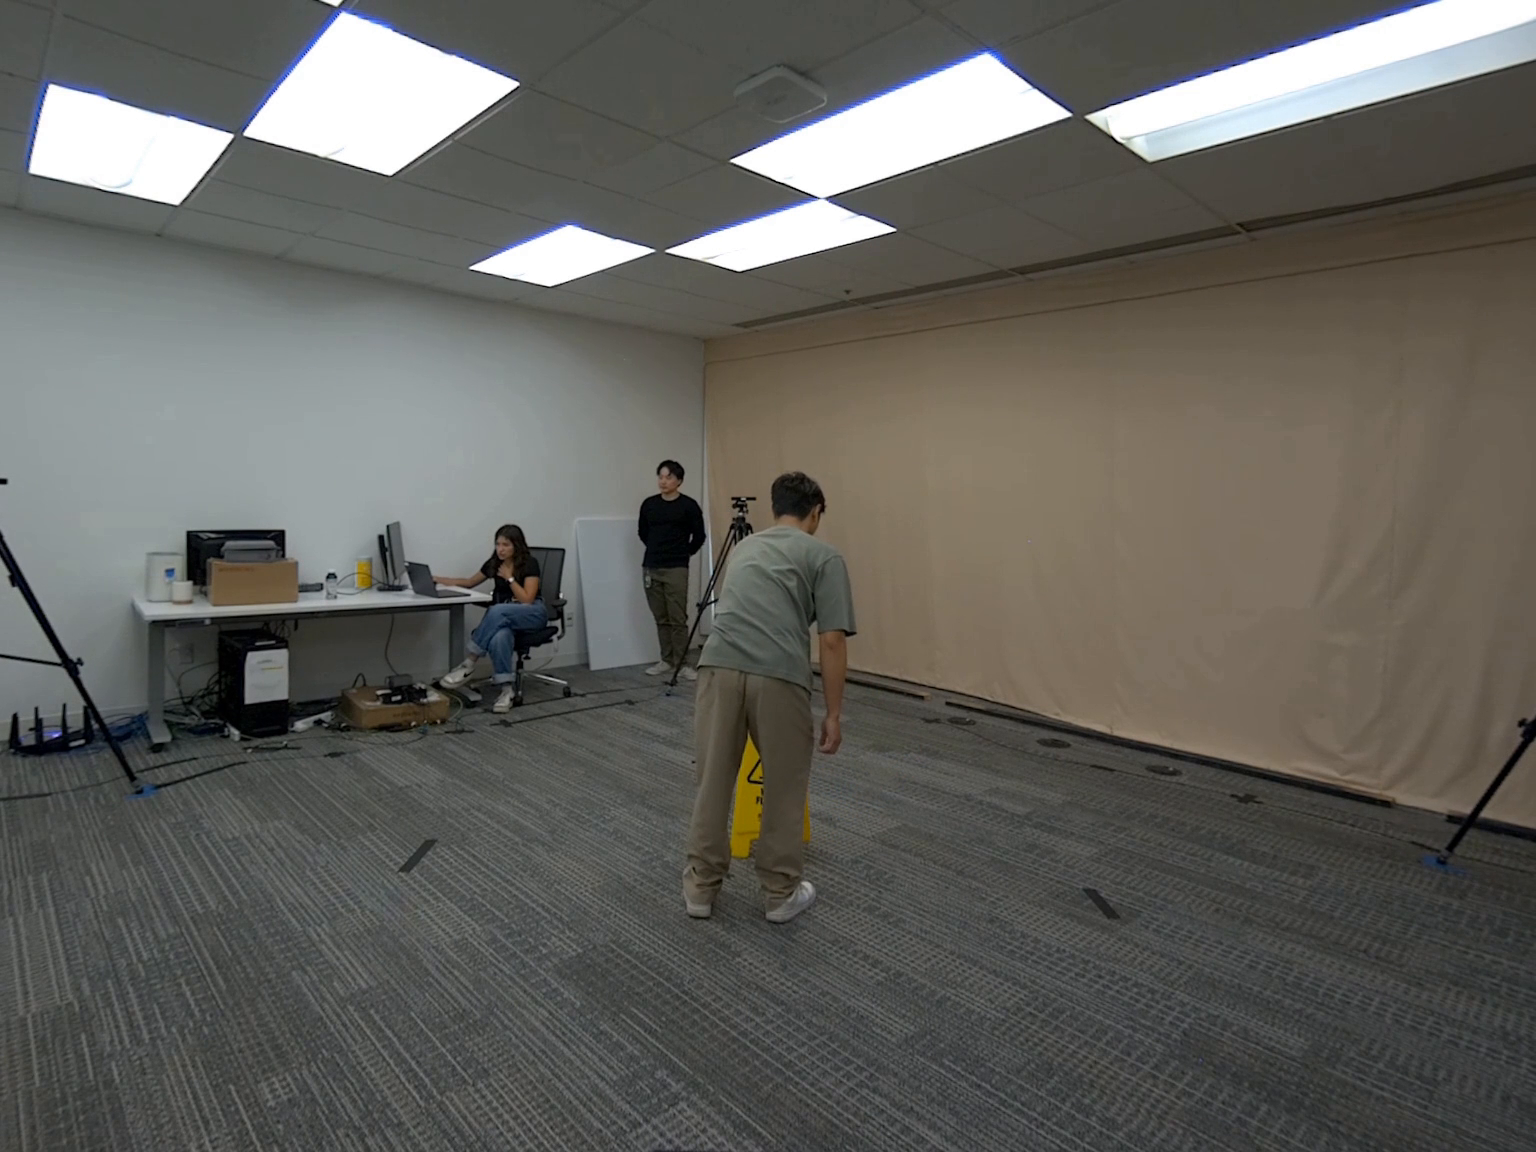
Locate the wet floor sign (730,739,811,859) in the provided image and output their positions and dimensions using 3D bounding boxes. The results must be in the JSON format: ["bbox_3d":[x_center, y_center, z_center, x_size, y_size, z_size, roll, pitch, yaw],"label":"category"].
[{"bbox_3d":[0.012,0.771,3.356,0.286,0.645,0.287,3,2,14],"label":"wet floor sign"}]
